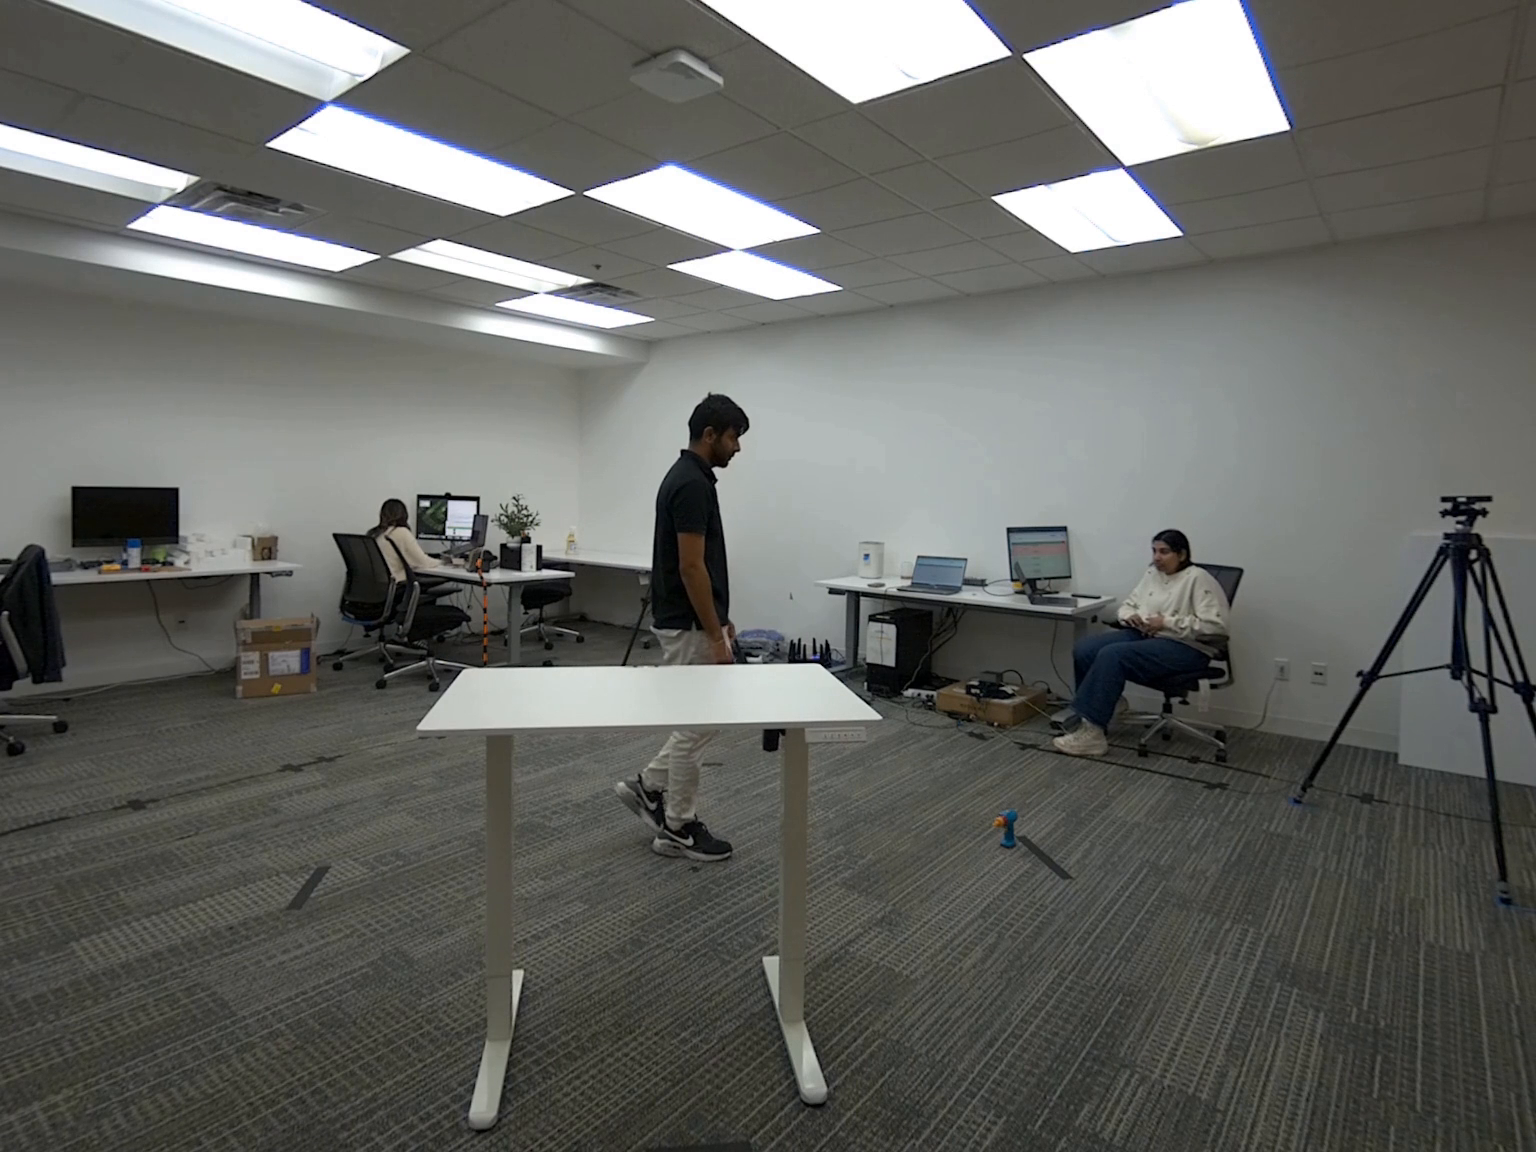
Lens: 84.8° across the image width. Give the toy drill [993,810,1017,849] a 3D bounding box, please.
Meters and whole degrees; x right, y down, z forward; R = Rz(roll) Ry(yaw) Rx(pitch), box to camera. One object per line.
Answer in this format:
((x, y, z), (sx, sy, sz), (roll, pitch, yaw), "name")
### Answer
((0.929, 0.997, 3.353), (0.063, 0.146, 0.164), (0, 0, 44), "toy drill")
